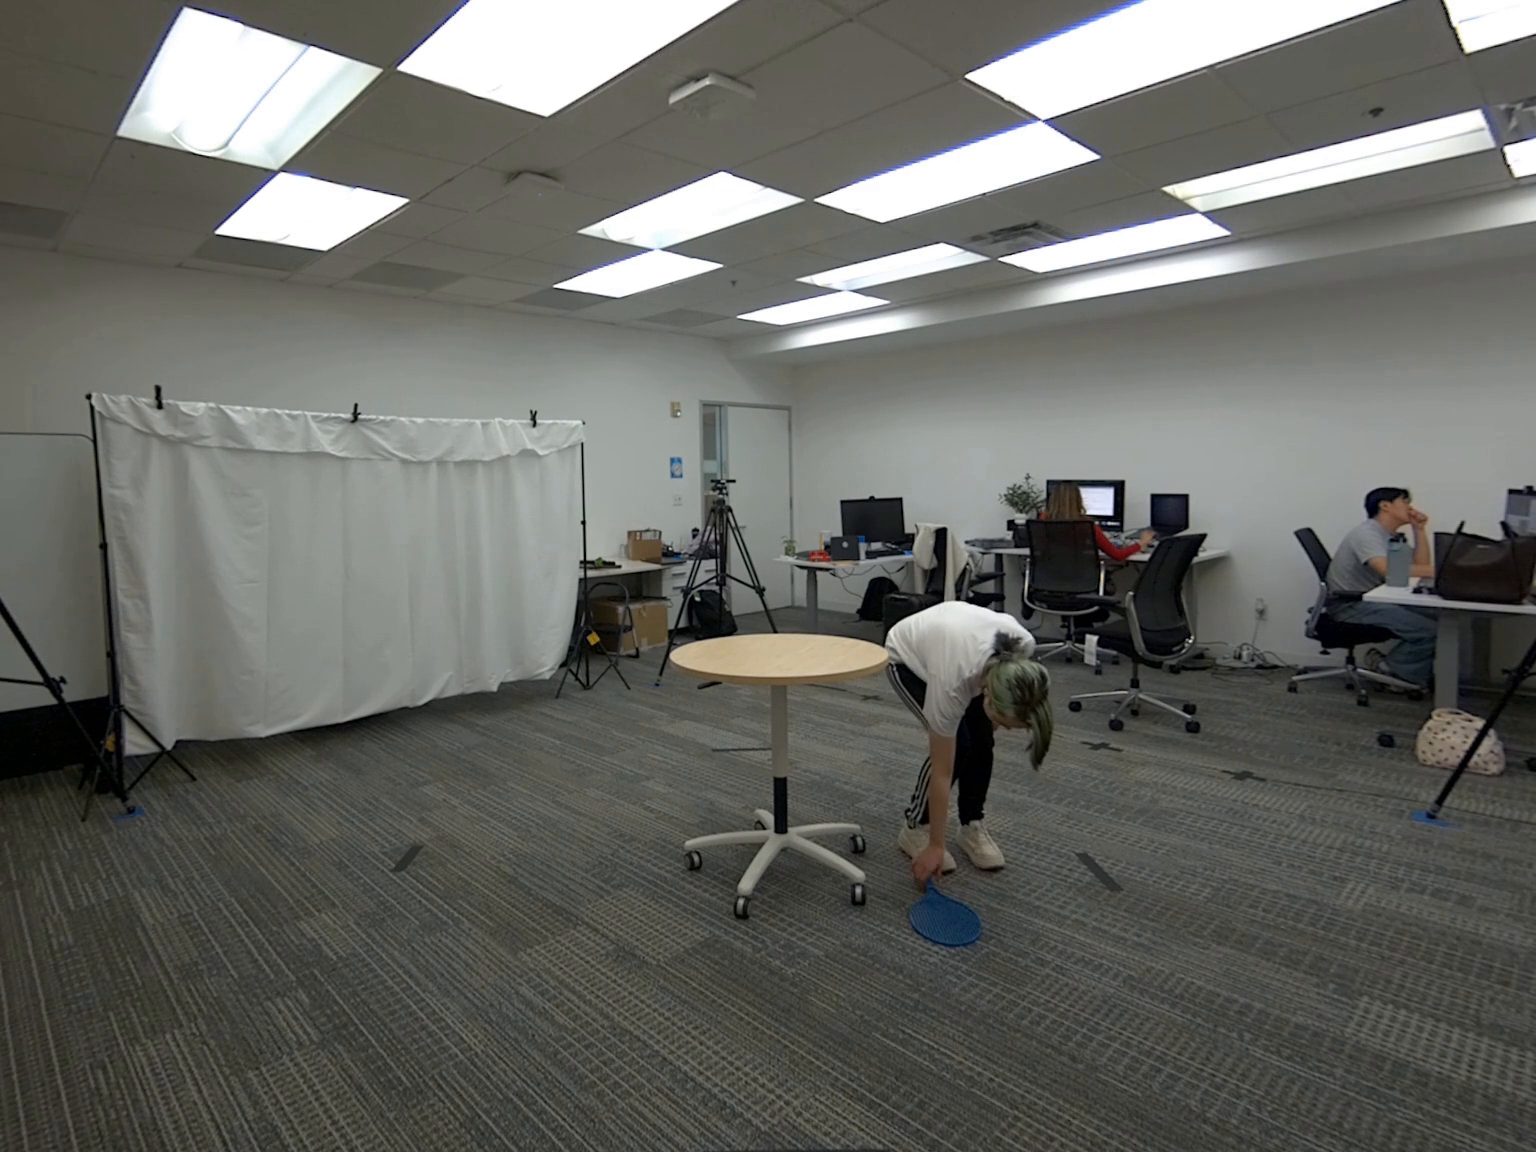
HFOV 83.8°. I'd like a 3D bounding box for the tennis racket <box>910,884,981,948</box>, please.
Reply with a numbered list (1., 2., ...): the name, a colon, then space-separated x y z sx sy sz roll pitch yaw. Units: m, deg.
1. tennis racket: 0.547 1.059 2.753 0.213 0.031 0.436 -3 8 -2
